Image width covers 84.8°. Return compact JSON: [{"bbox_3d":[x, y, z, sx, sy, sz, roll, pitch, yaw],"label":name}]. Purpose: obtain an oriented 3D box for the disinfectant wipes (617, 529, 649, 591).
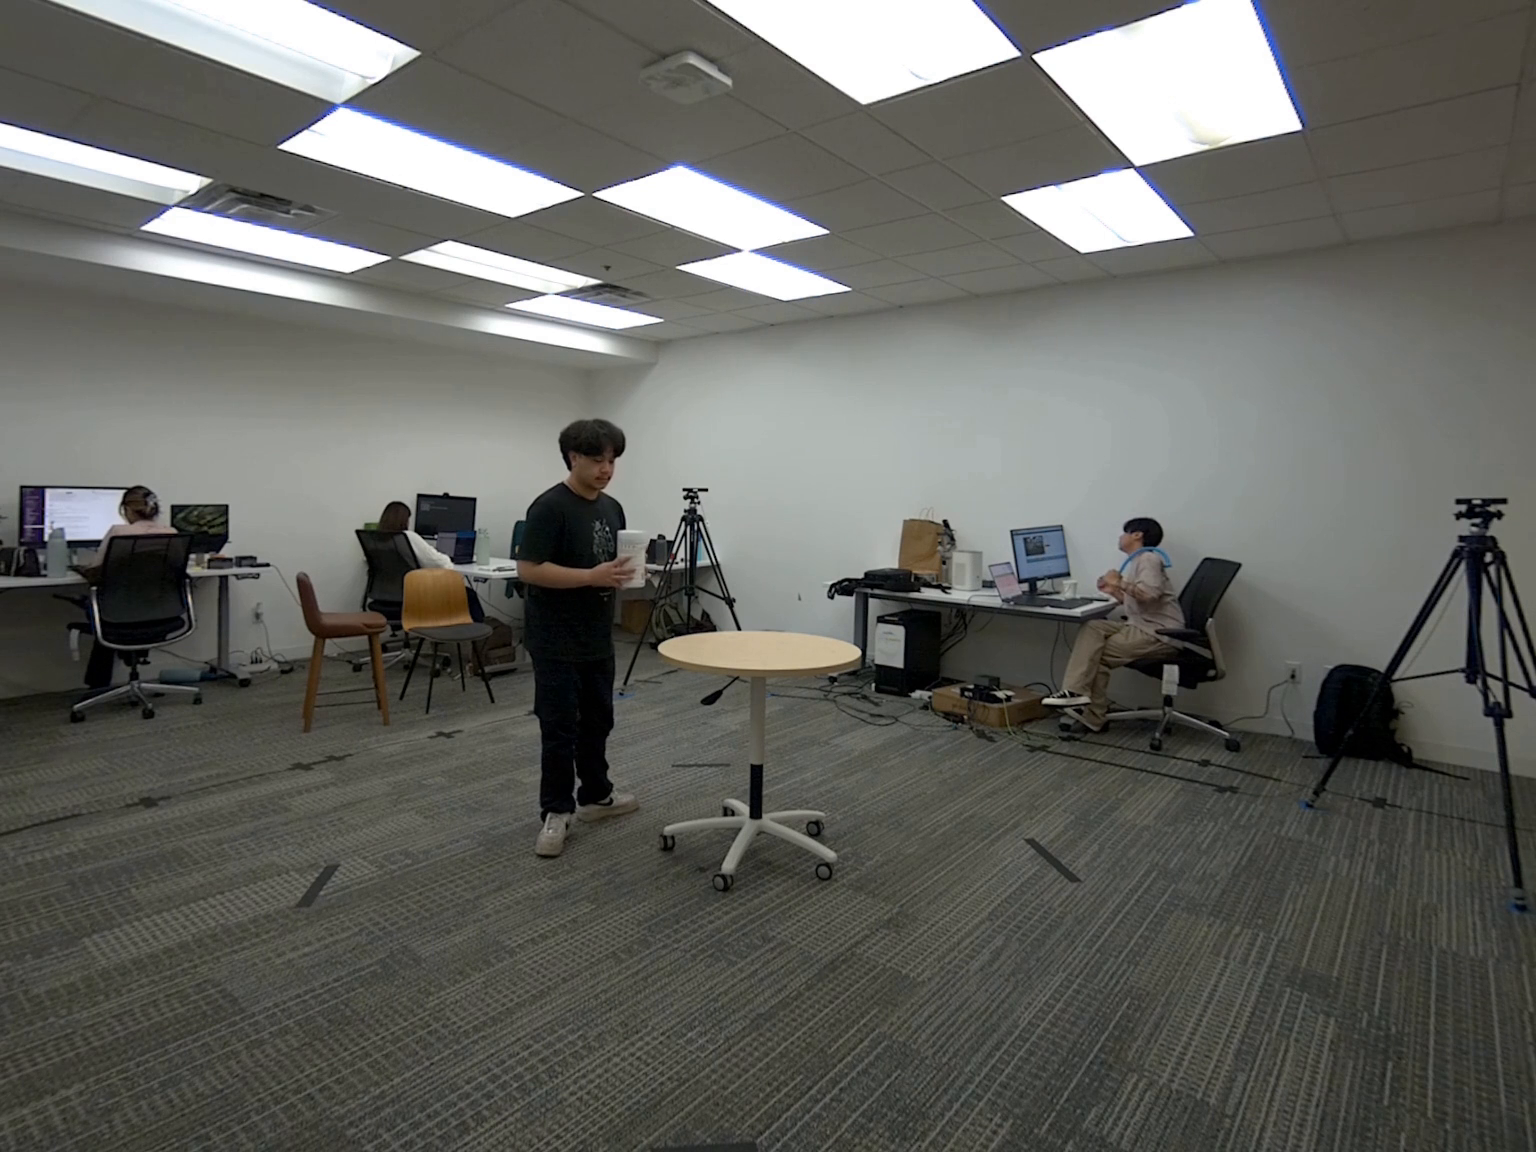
[{"bbox_3d":[-0.535,-0.065,3.258,0.117,0.217,0.118,3,4,-2],"label":"disinfectant wipes"}]
